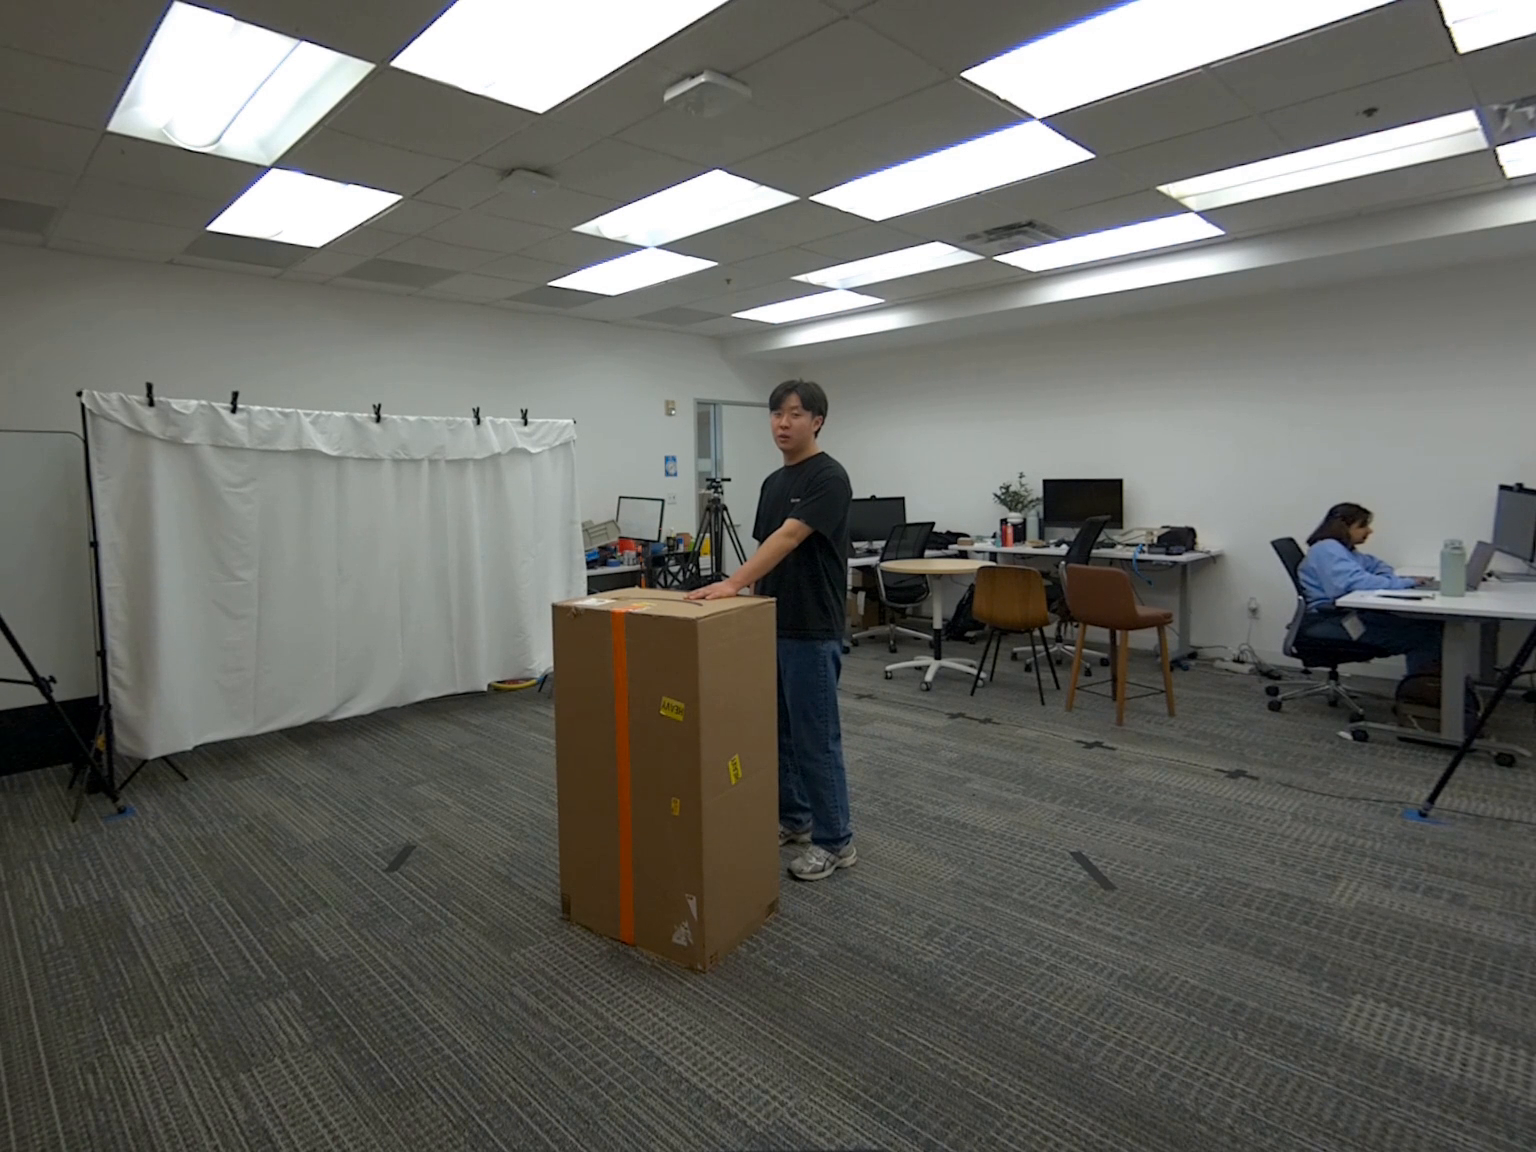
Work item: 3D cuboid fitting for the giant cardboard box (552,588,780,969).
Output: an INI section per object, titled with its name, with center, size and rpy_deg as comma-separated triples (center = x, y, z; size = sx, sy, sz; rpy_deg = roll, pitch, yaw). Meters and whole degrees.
[giant cardboard box]
center = -0.321, 0.581, 2.713
size = 0.601, 1.022, 0.436
rpy_deg = 2, 6, 35
